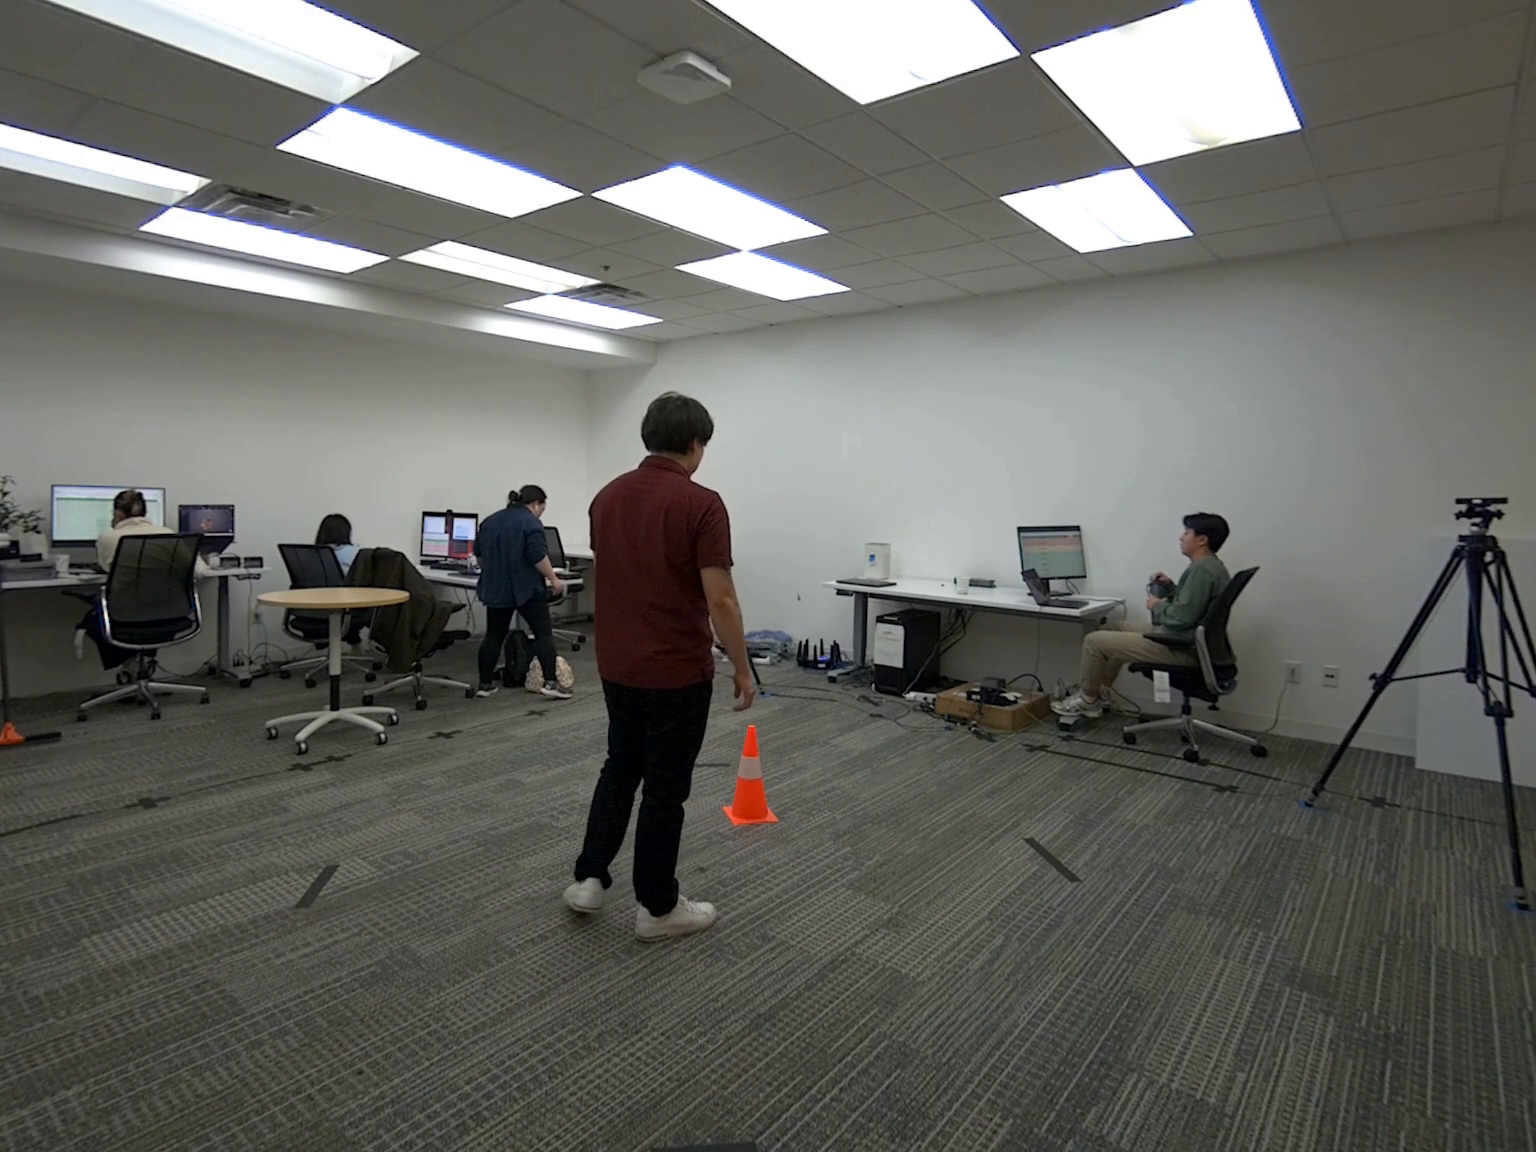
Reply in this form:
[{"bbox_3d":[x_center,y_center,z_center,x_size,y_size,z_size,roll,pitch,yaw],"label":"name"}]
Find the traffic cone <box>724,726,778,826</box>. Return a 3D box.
[{"bbox_3d":[-0.089,0.832,3.654,0.200,0.383,0.209,1,2,-16],"label":"traffic cone"}]
